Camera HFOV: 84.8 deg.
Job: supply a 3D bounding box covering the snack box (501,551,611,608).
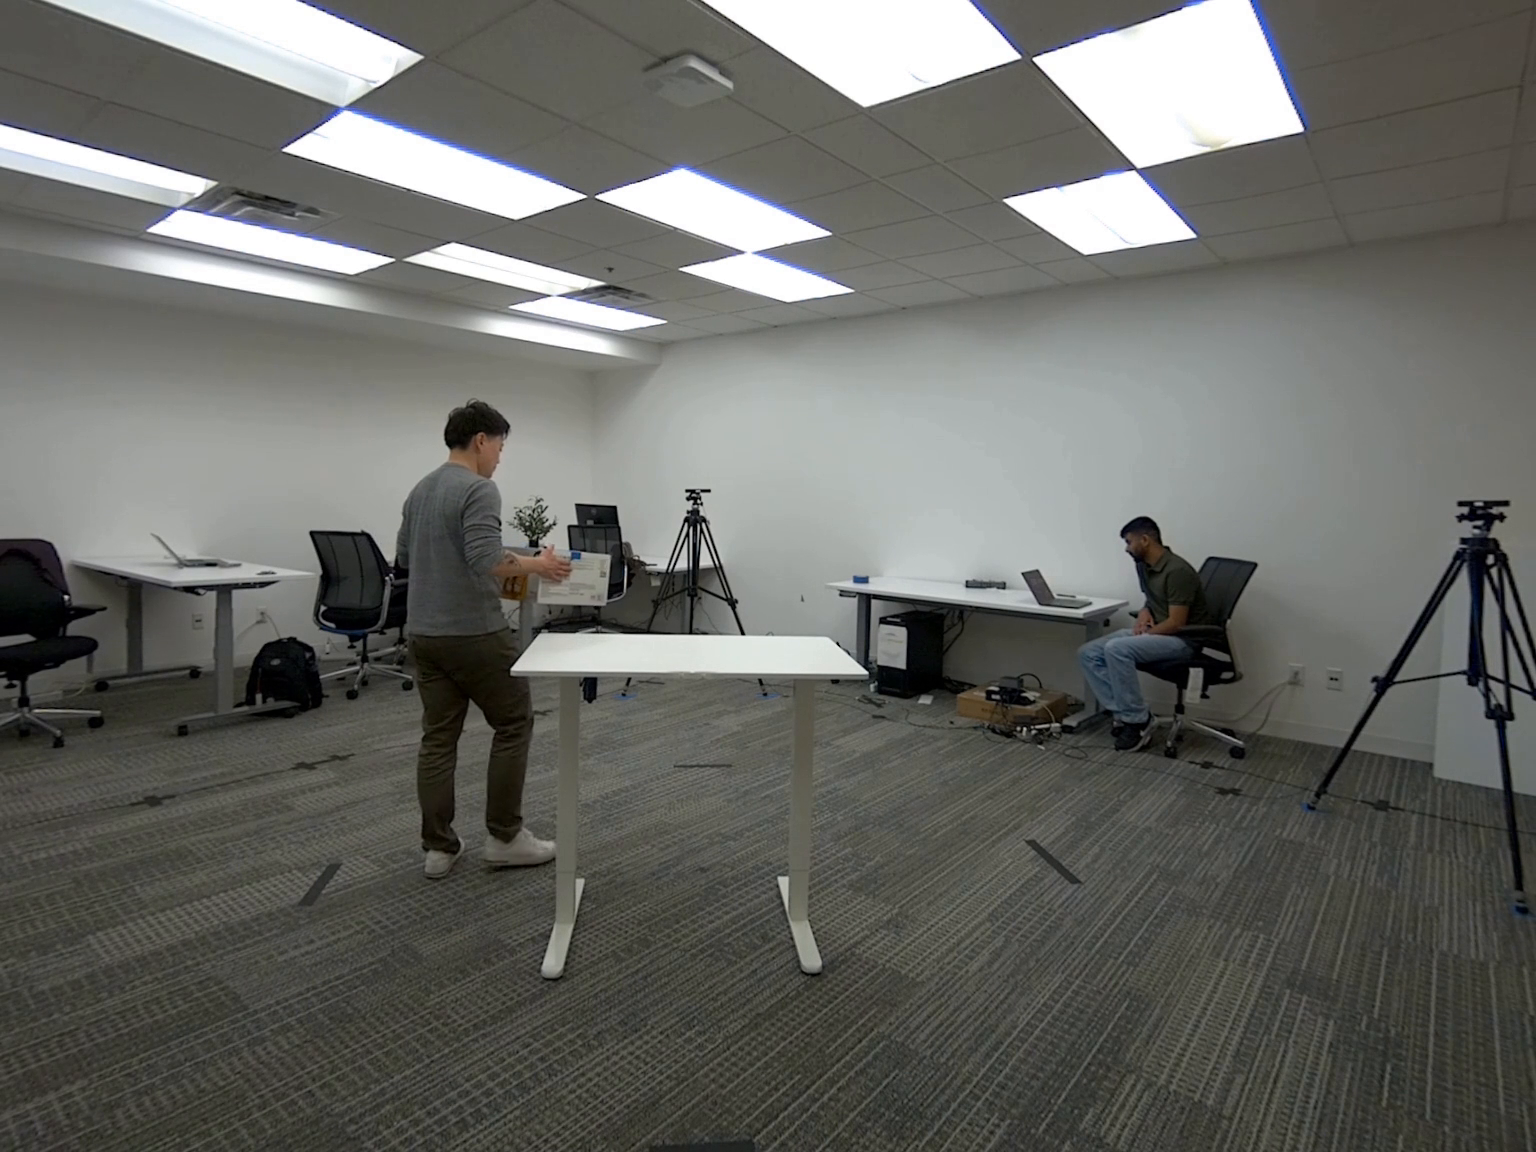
[{"bbox_3d":[-0.897,-0.003,3.333,0.419,0.206,0.329,5,0,39],"label":"snack box"}]
